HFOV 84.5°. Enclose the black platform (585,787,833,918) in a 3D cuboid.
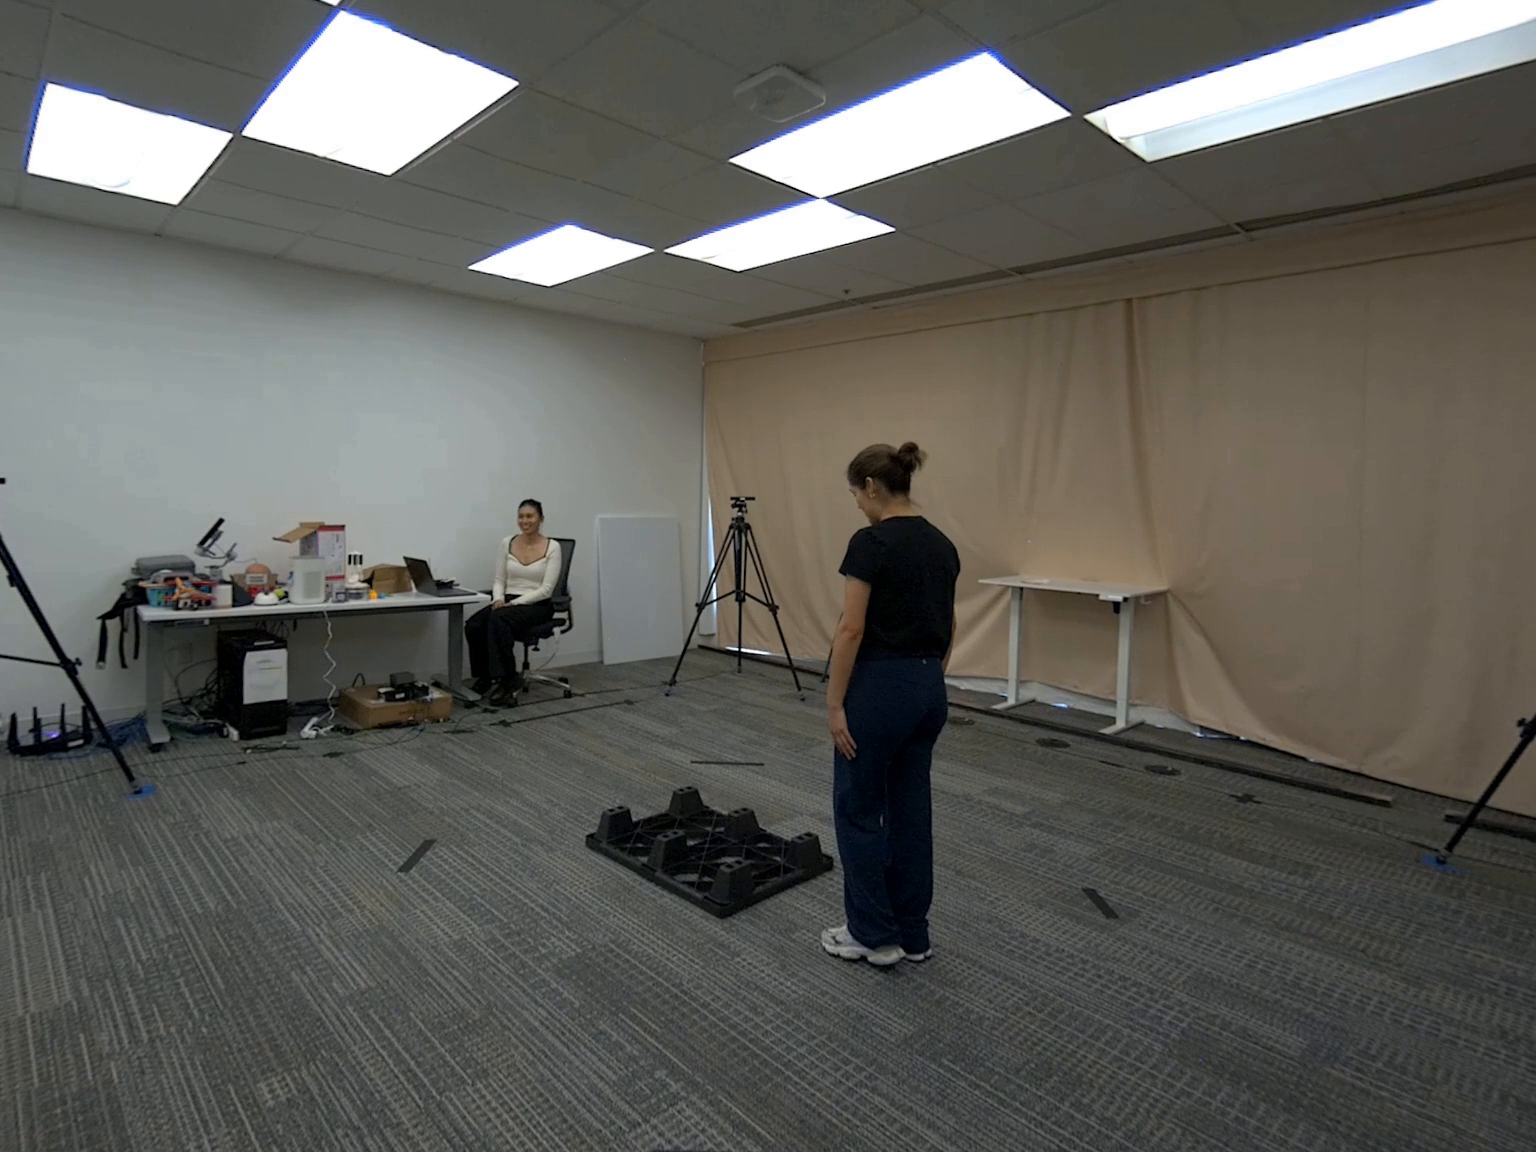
[{"bbox_3d":[-0.245,1.025,3.250,0.826,0.143,0.591,6,6,44],"label":"black platform"}]
